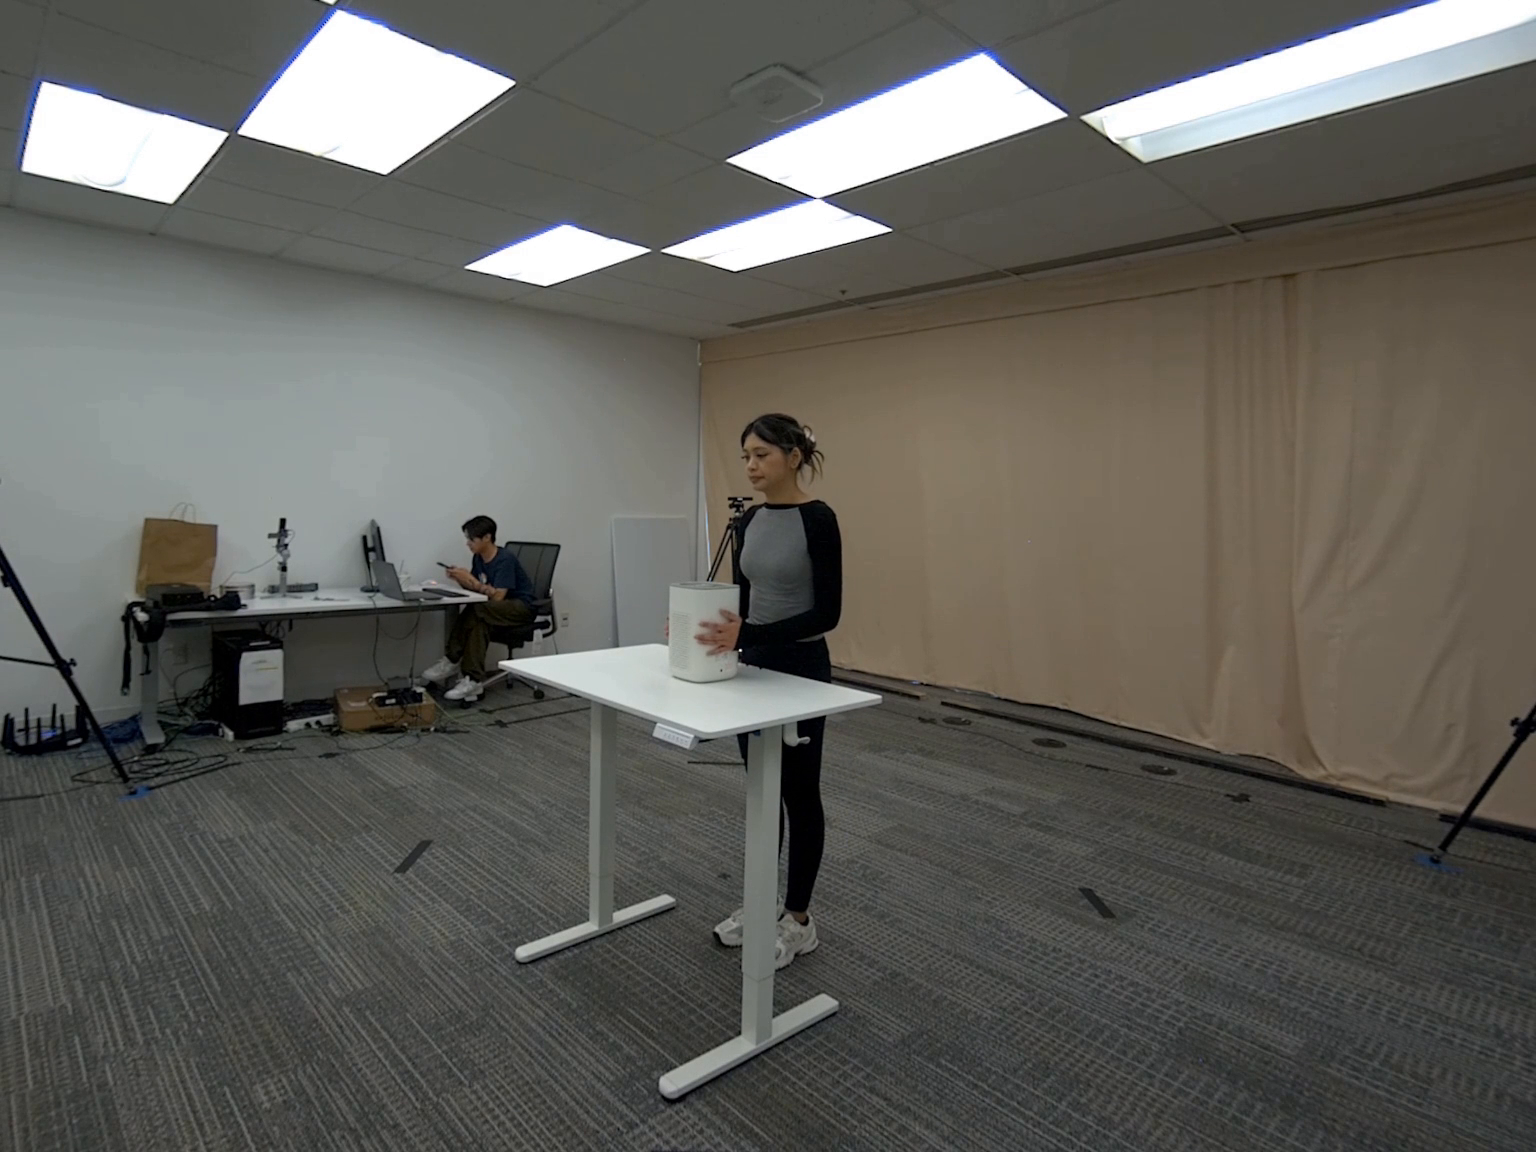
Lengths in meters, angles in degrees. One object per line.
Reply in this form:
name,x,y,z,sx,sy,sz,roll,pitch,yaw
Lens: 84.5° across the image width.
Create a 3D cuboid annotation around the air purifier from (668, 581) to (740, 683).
air purifier,-0.187,0.159,2.387,0.167,0.265,0.176,-1,3,-42
